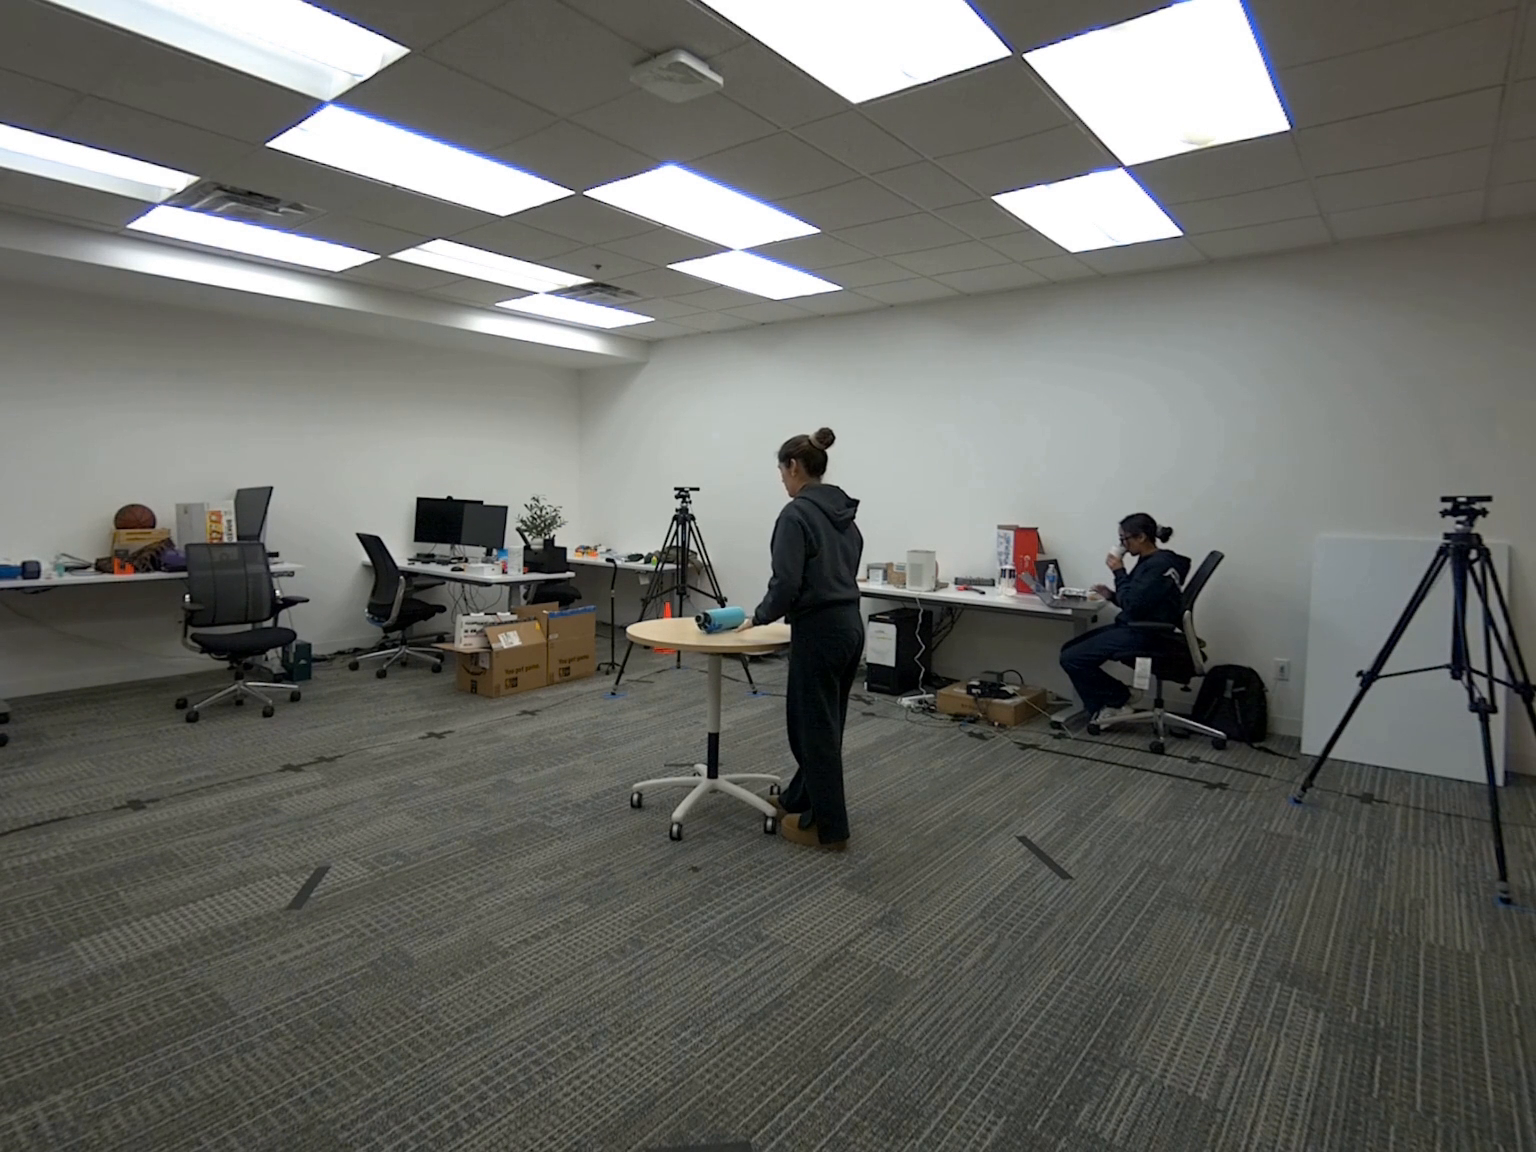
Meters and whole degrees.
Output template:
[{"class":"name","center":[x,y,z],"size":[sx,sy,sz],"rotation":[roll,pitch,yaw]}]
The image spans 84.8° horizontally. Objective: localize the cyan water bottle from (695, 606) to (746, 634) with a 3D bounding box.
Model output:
[{"class":"cyan water bottle","center":[-0.210,0.182,3.652],"size":[0.095,0.092,0.276],"rotation":[3,4,31]}]
